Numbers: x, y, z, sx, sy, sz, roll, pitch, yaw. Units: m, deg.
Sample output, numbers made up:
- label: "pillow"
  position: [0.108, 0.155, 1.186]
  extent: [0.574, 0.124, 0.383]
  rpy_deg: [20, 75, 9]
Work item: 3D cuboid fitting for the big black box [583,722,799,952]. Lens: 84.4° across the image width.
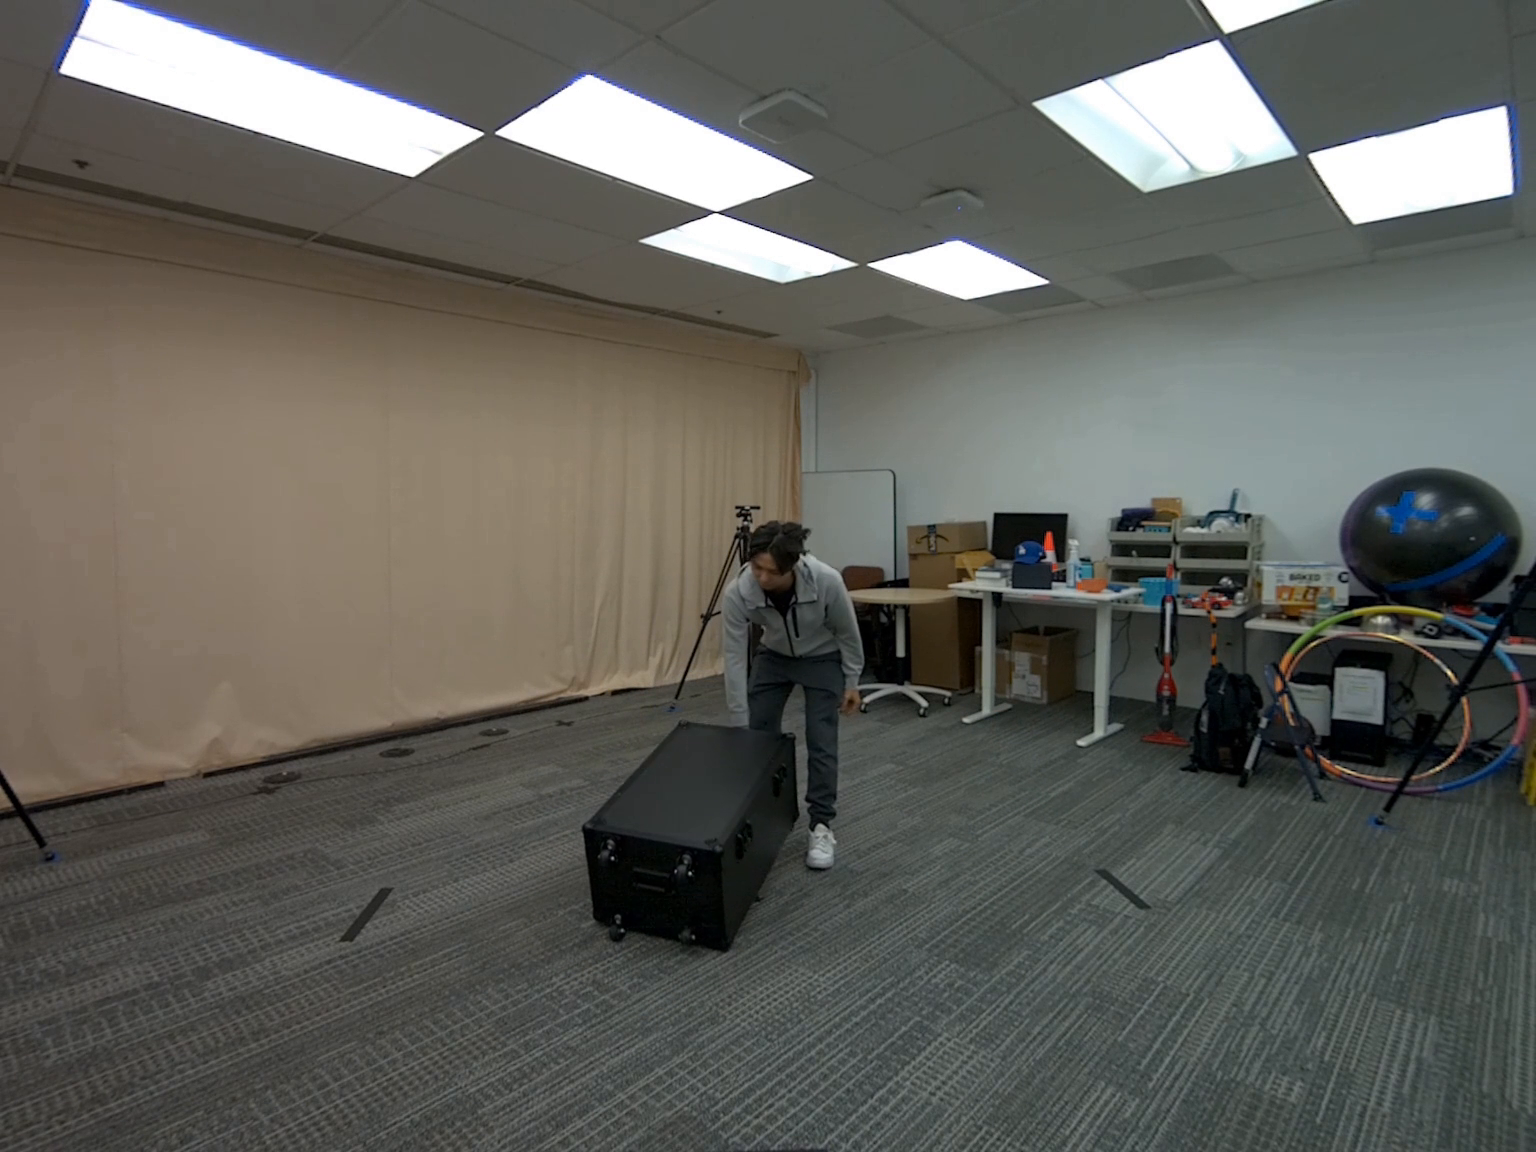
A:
- label: "big black box"
  position: [-0.225, 0.875, 3.037]
  extent: [0.533, 0.392, 0.852]
  rpy_deg: [3, 18, 20]
